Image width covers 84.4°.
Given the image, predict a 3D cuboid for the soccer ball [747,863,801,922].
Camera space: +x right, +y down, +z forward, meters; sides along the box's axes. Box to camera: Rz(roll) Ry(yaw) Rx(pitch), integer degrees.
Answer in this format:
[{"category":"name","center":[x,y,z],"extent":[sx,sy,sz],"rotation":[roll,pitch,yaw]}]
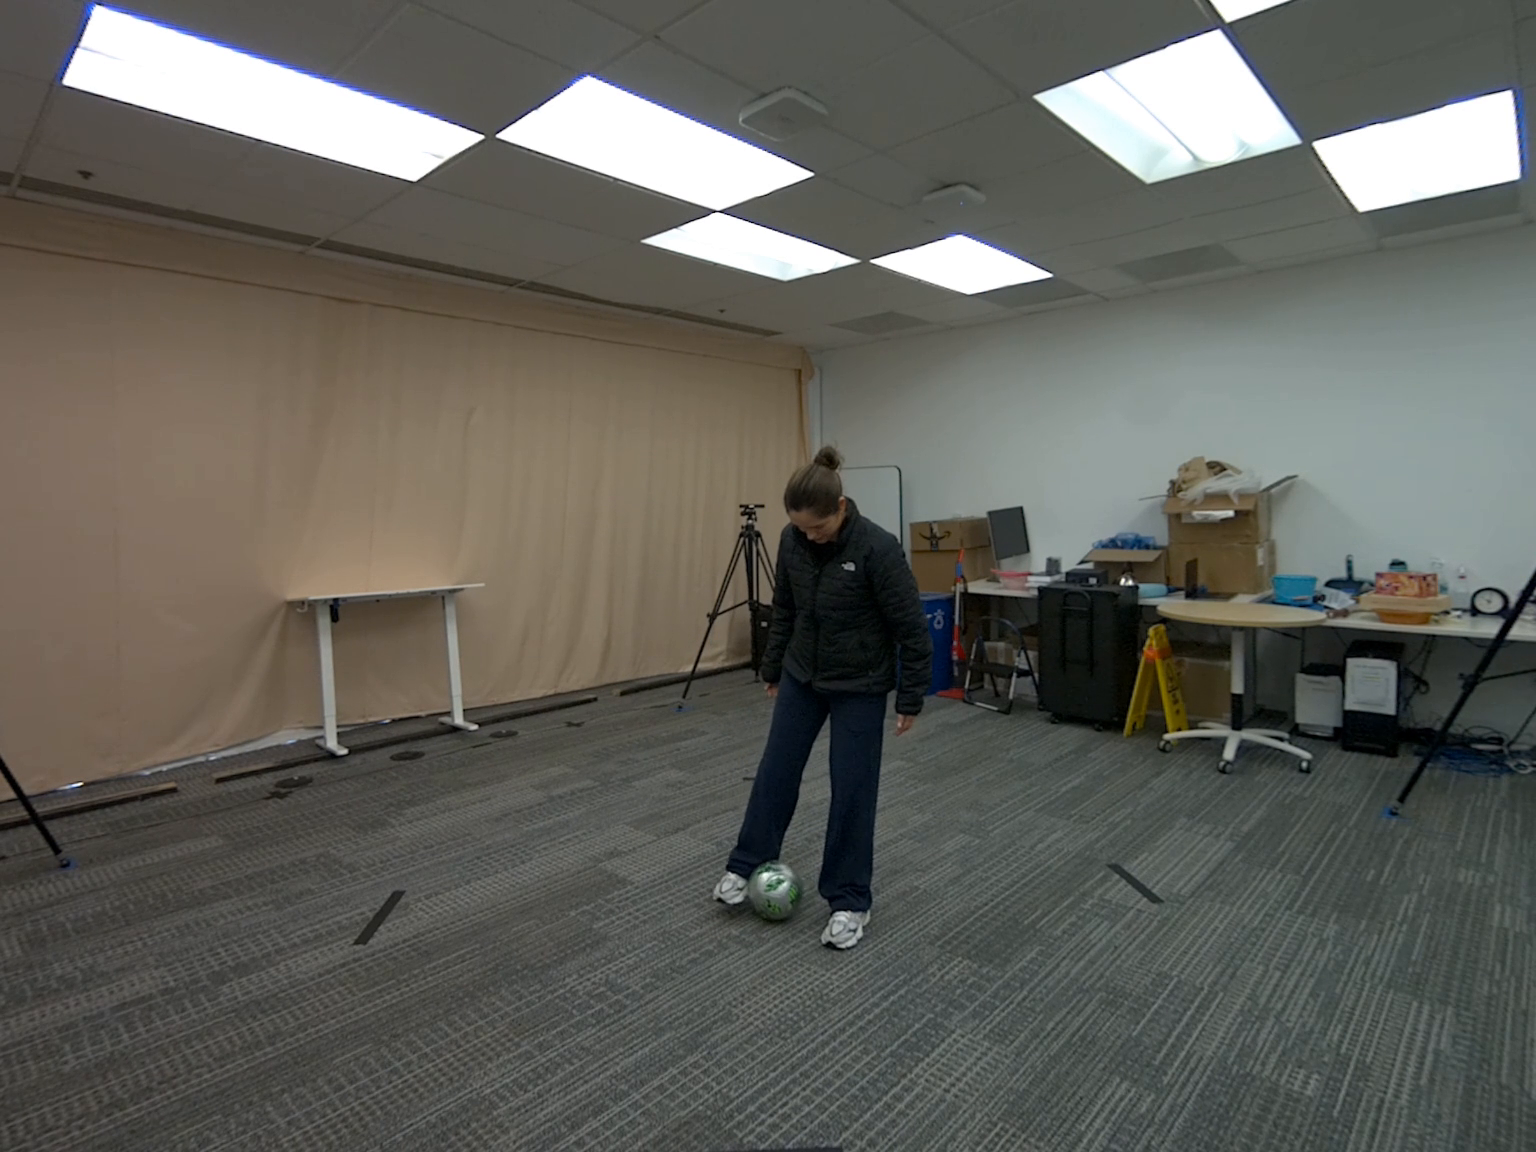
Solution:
[{"category":"soccer ball","center":[0.028,1.064,2.834],"extent":[0.187,0.187,0.188],"rotation":[-1,4,-2]}]
